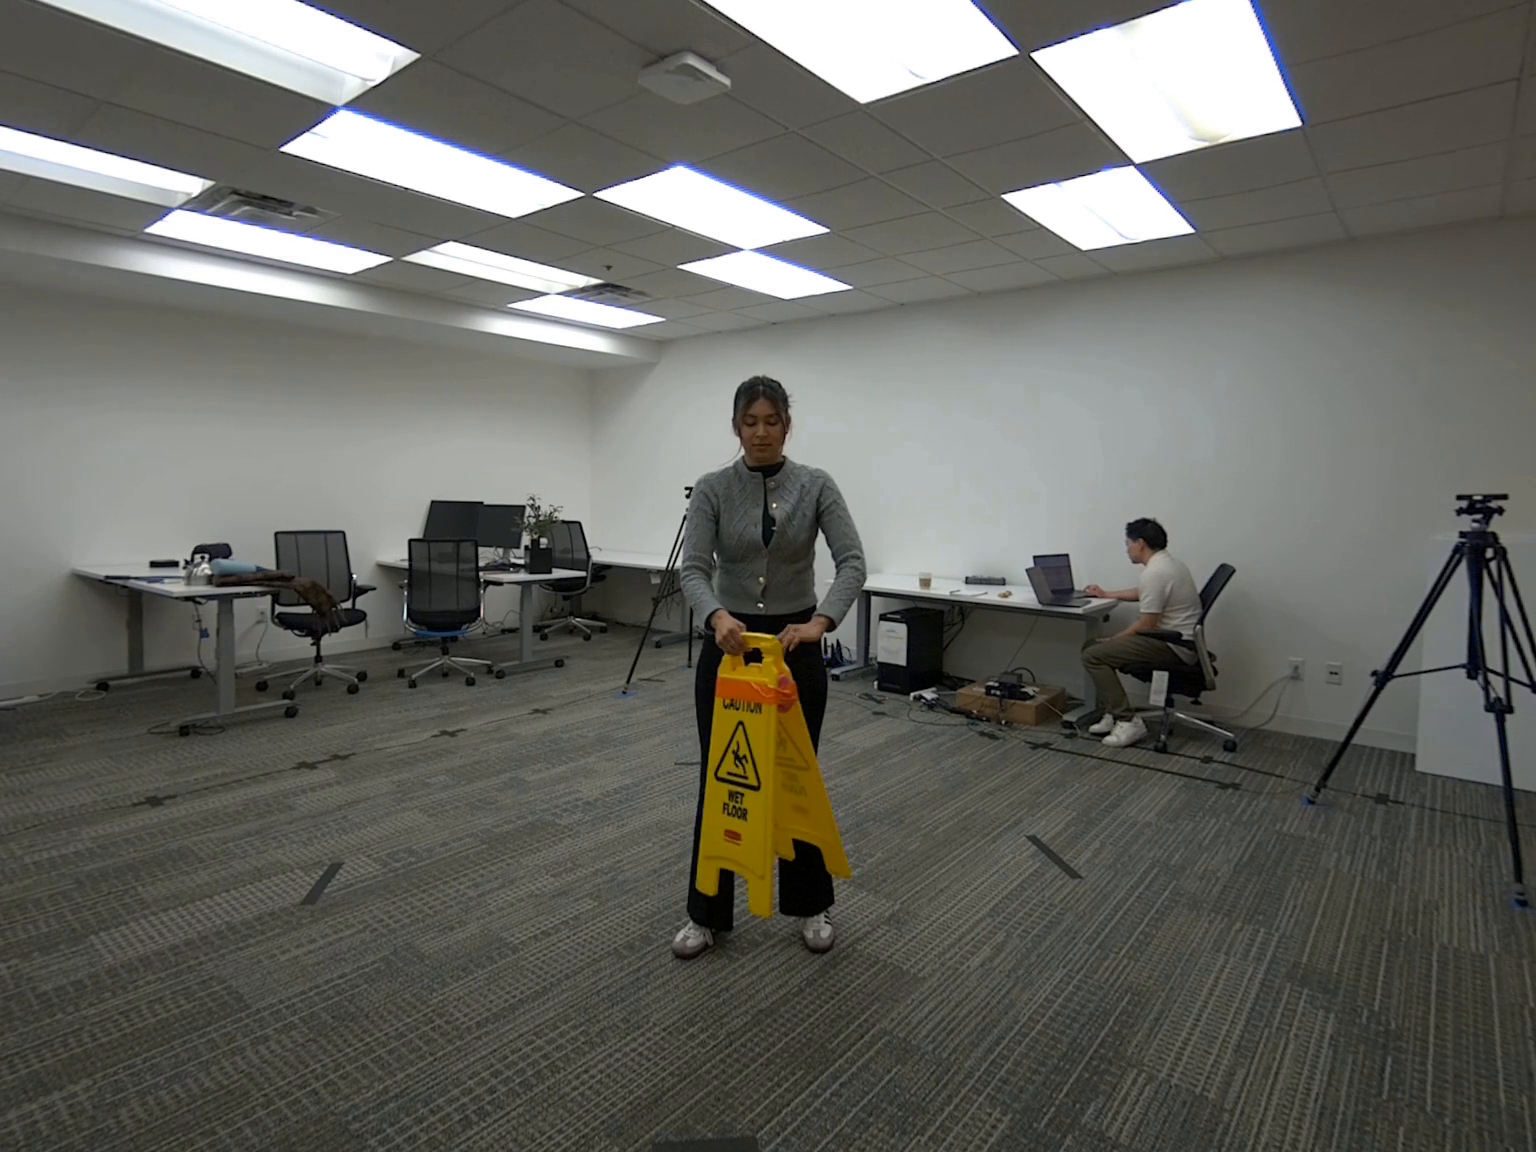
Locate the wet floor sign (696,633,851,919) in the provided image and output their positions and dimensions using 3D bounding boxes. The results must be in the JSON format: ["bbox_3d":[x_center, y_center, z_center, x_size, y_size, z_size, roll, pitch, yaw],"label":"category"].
[{"bbox_3d":[-0.017,0.460,2.188,0.281,0.646,0.290,-5,0,-43],"label":"wet floor sign"}]
